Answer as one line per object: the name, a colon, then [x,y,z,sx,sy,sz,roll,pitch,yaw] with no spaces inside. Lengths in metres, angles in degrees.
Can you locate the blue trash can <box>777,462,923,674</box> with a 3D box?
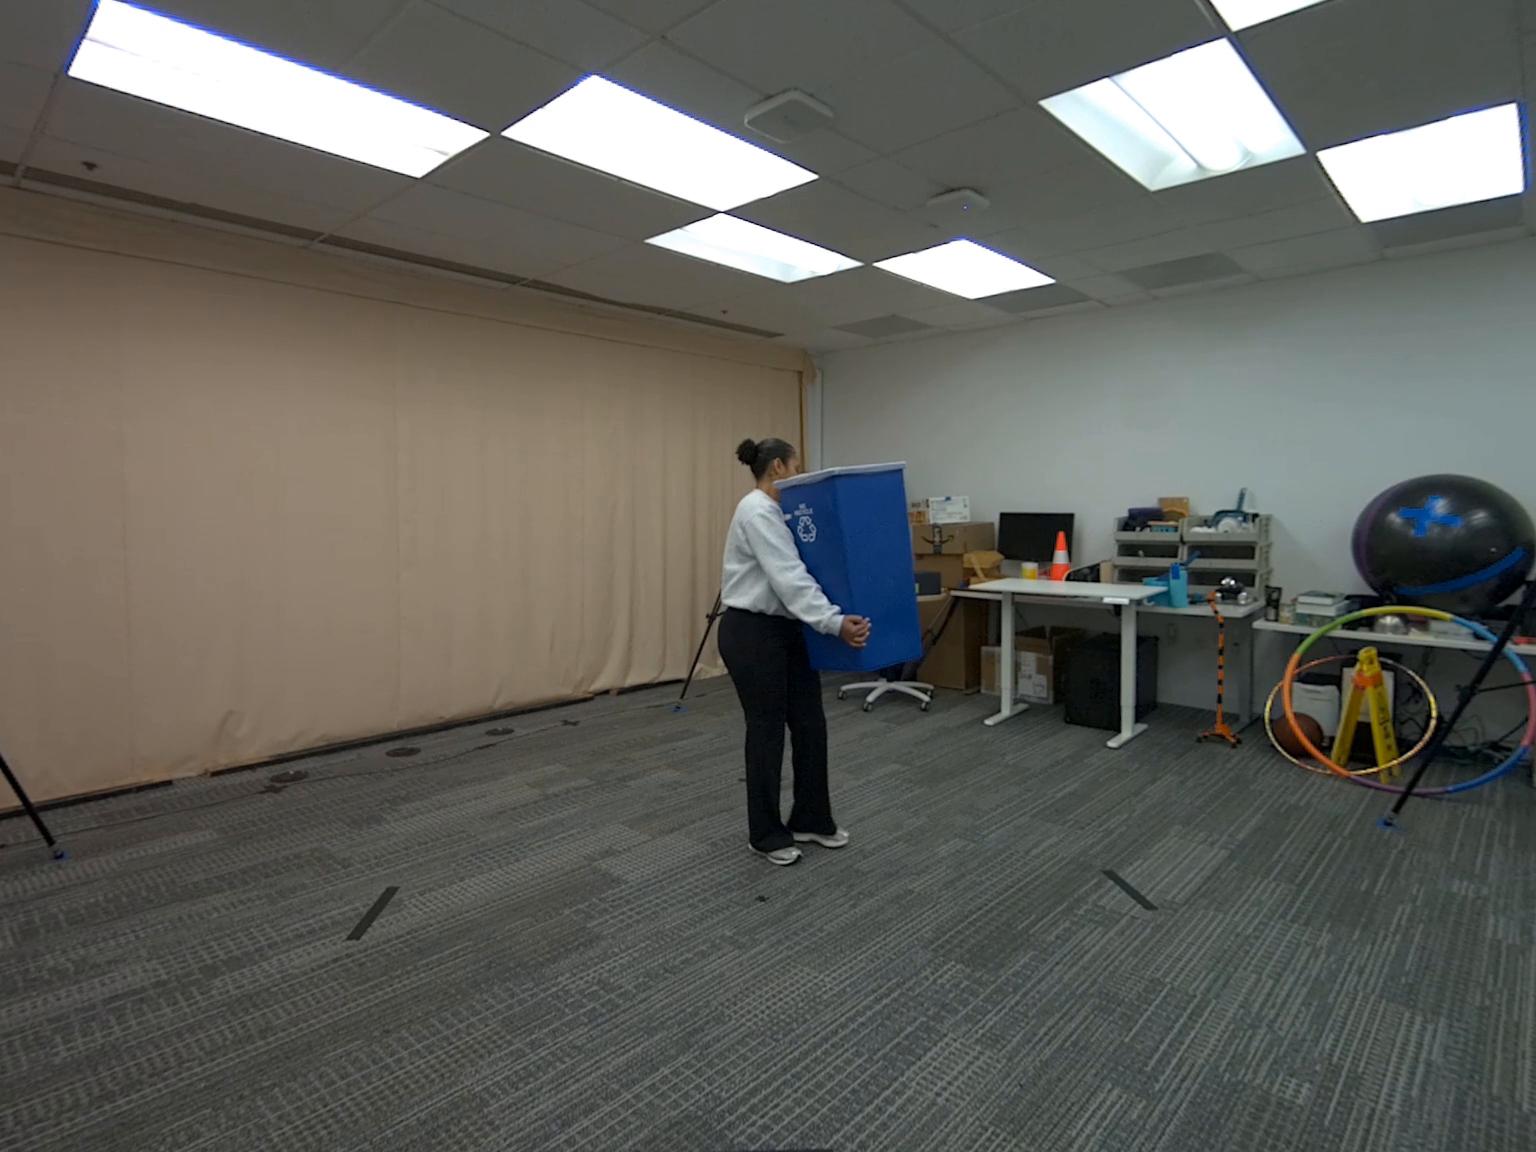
blue trash can: [0.315,-0.030,3.107,0.364,0.714,0.388,-8,-1,-35]
